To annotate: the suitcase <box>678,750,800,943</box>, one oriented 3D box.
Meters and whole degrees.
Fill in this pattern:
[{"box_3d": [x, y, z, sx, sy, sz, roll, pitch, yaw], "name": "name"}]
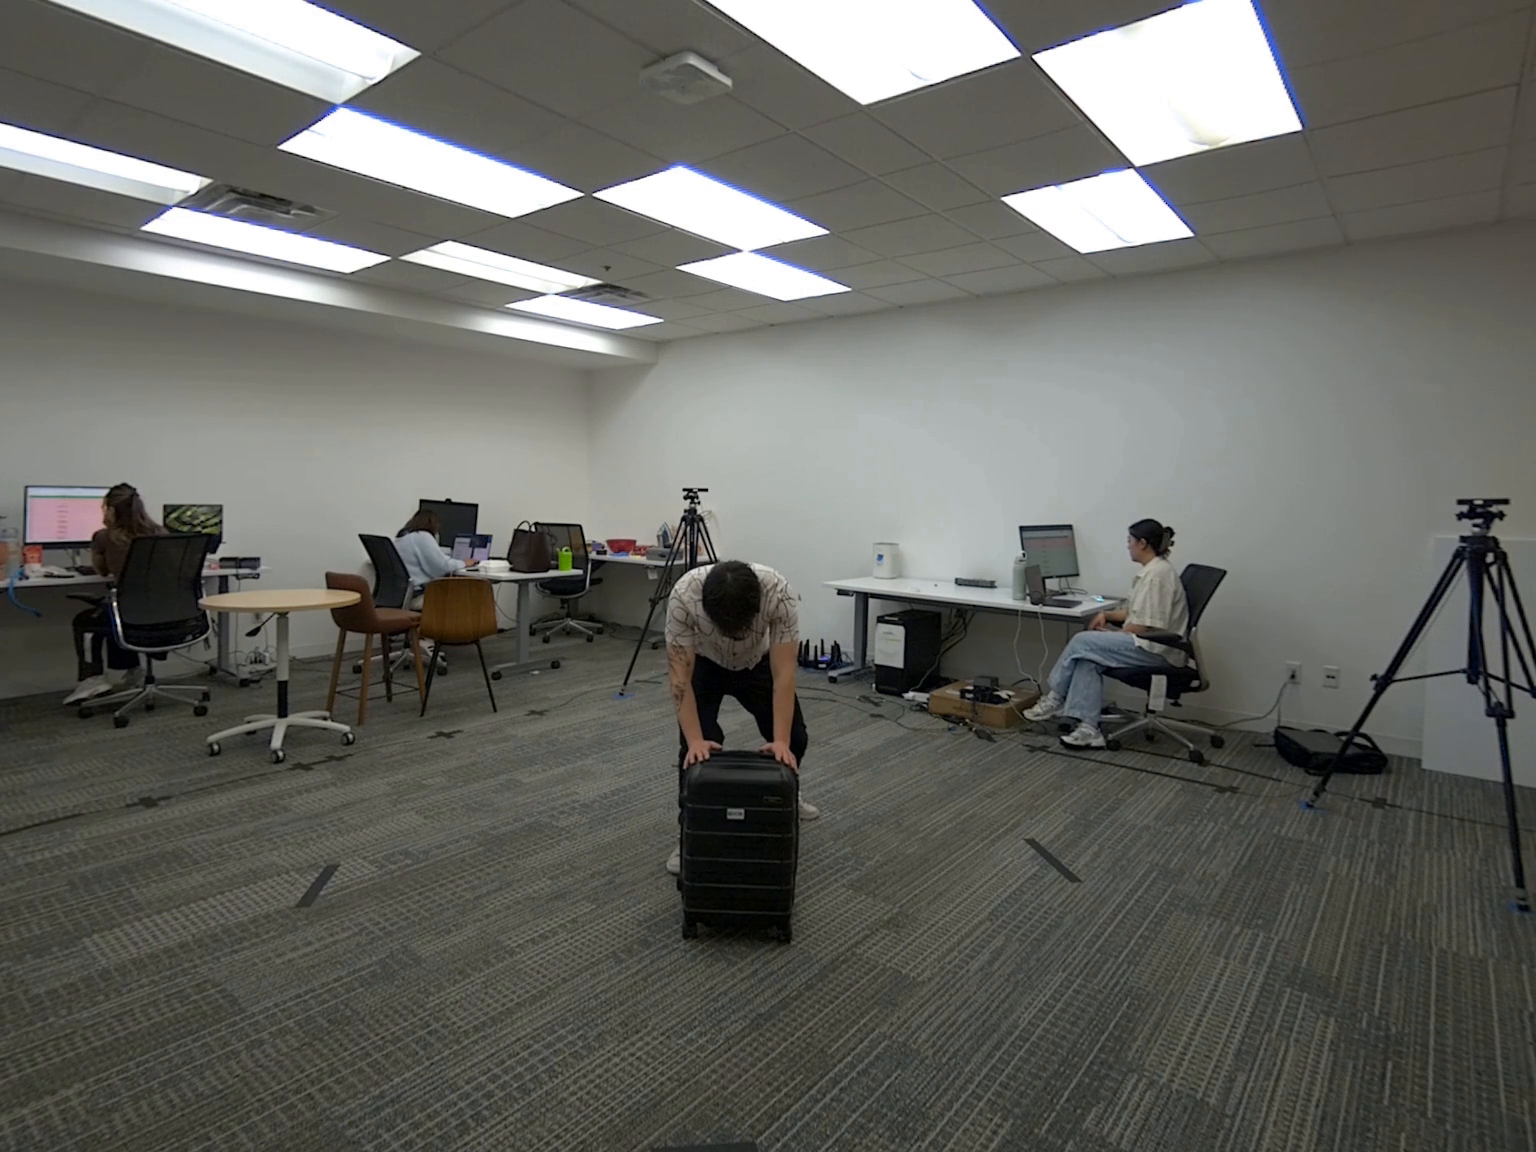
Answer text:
[{"box_3d": [-0.096, 0.839, 2.696, 0.376, 0.546, 0.249, 1, 6, 2], "name": "suitcase"}]
